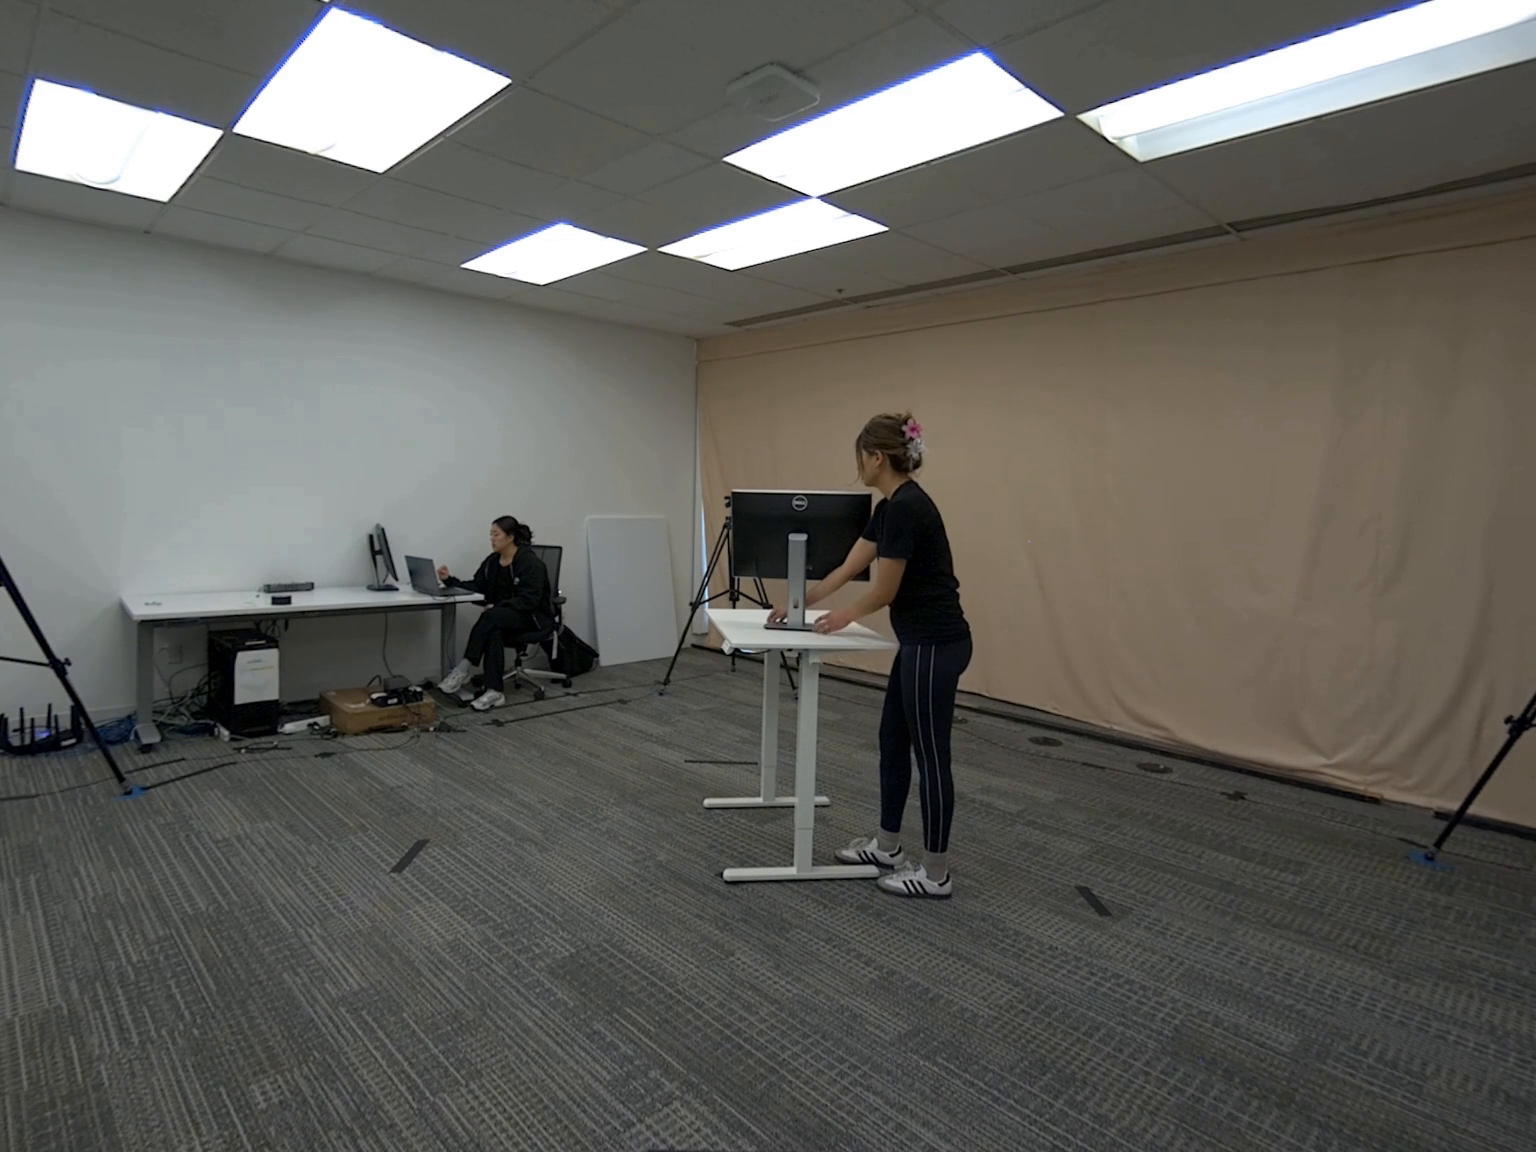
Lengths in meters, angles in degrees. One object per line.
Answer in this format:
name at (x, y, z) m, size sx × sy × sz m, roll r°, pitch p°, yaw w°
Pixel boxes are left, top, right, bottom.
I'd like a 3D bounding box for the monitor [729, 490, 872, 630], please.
monitor at (0.112, -0.064, 3.329) m, size 0.543 × 0.521 × 0.186 m, roll 2°, pitch 4°, yaw 9°
